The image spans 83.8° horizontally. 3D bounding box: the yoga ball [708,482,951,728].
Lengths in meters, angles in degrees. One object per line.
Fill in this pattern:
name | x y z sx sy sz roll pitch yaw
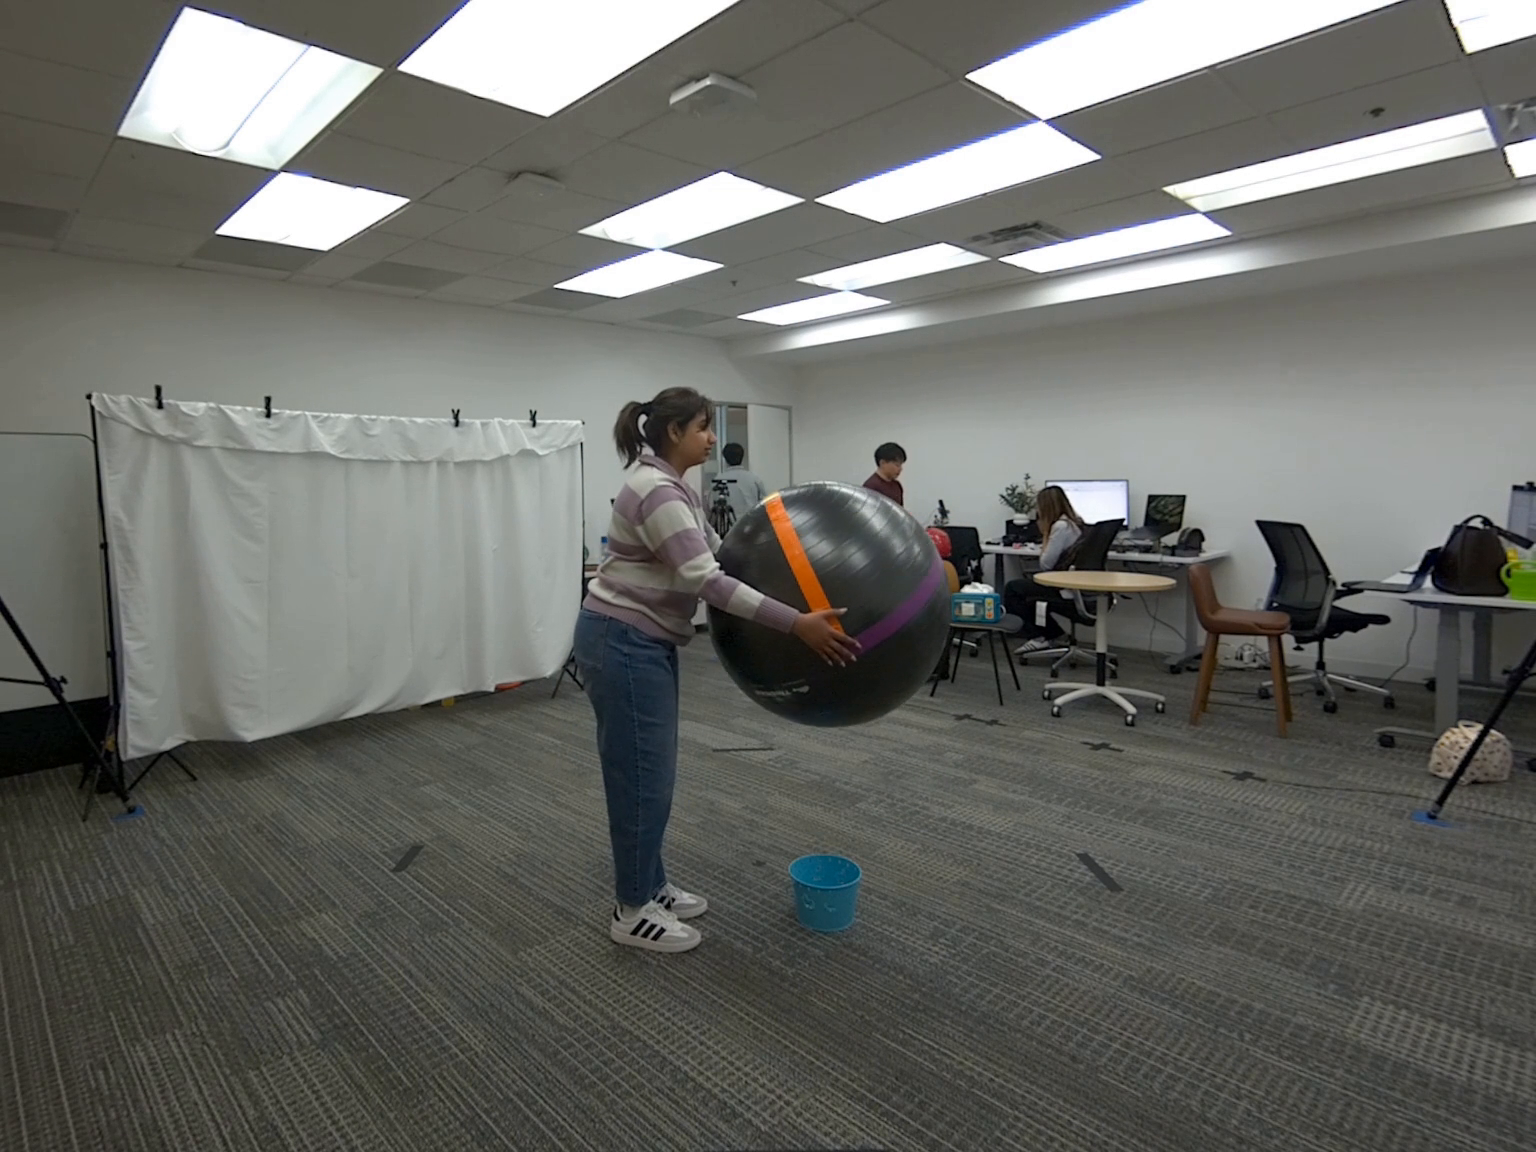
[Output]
yoga ball | 0.185 0.095 2.658 0.757 0.755 0.762 -1 5 -2
